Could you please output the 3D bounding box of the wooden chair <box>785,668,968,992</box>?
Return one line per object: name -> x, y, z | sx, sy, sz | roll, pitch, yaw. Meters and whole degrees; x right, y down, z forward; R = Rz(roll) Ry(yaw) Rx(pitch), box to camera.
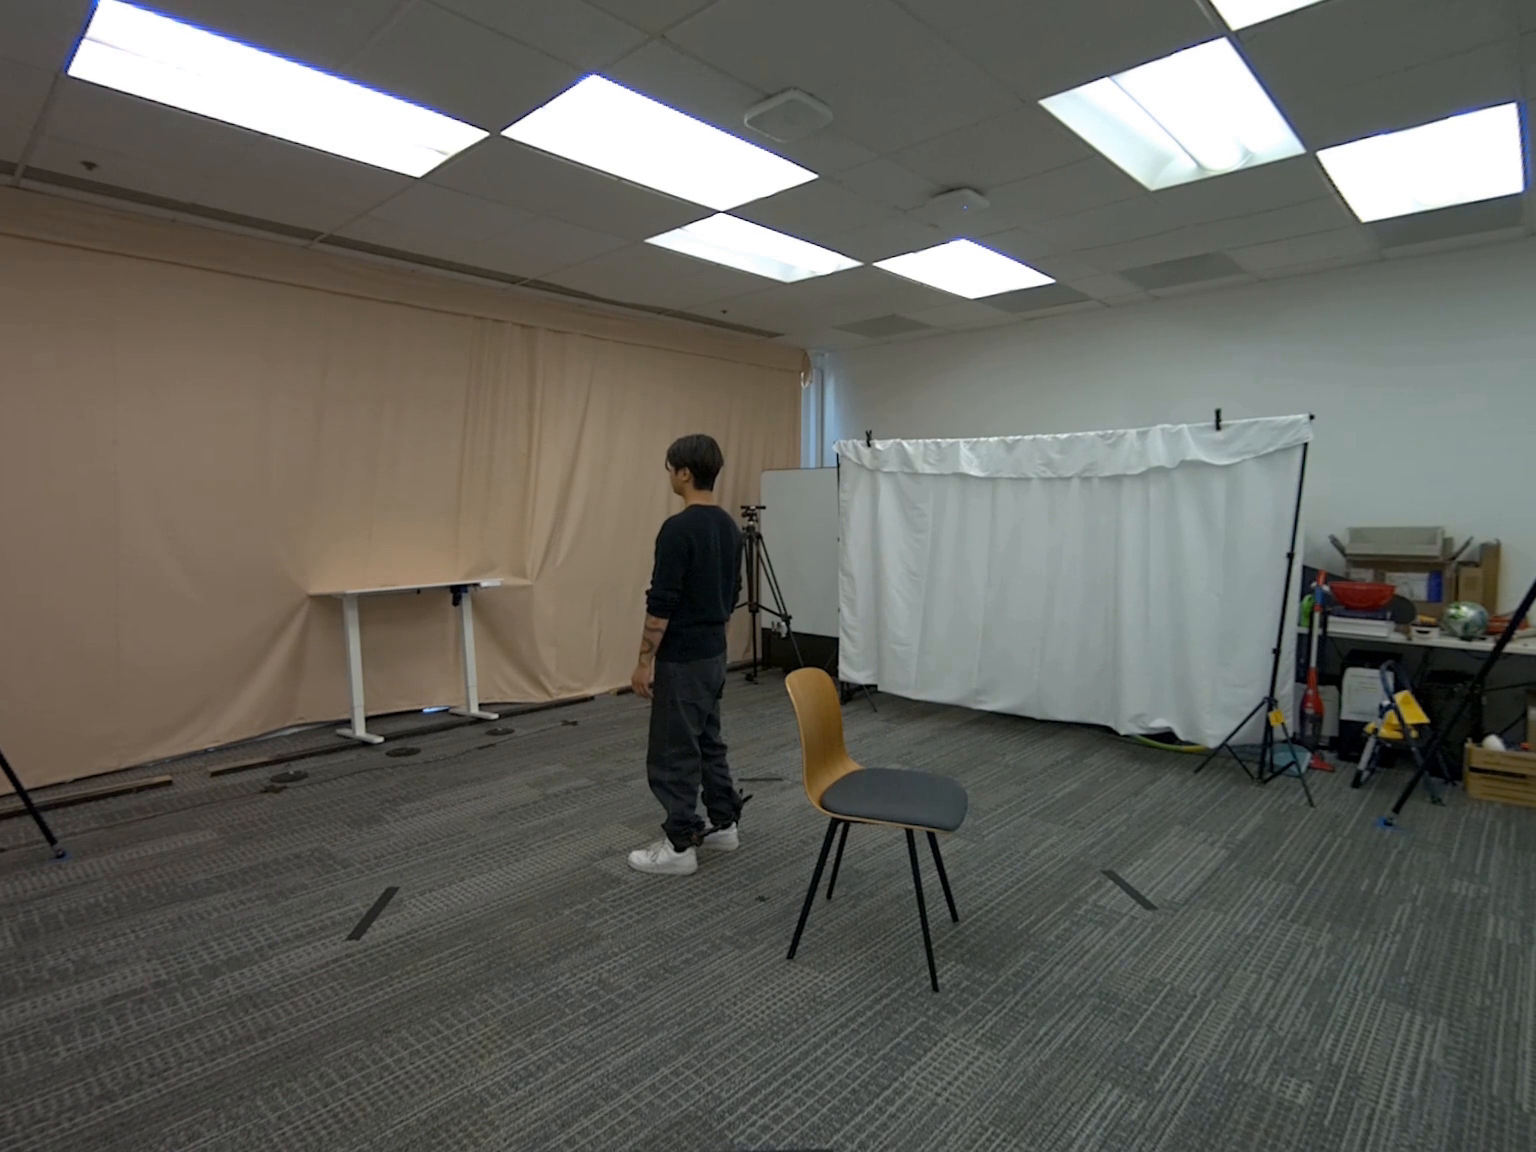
wooden chair -> 0.362, 0.741, 2.669 | 0.535, 0.877, 0.468 | -3, 1, 22
